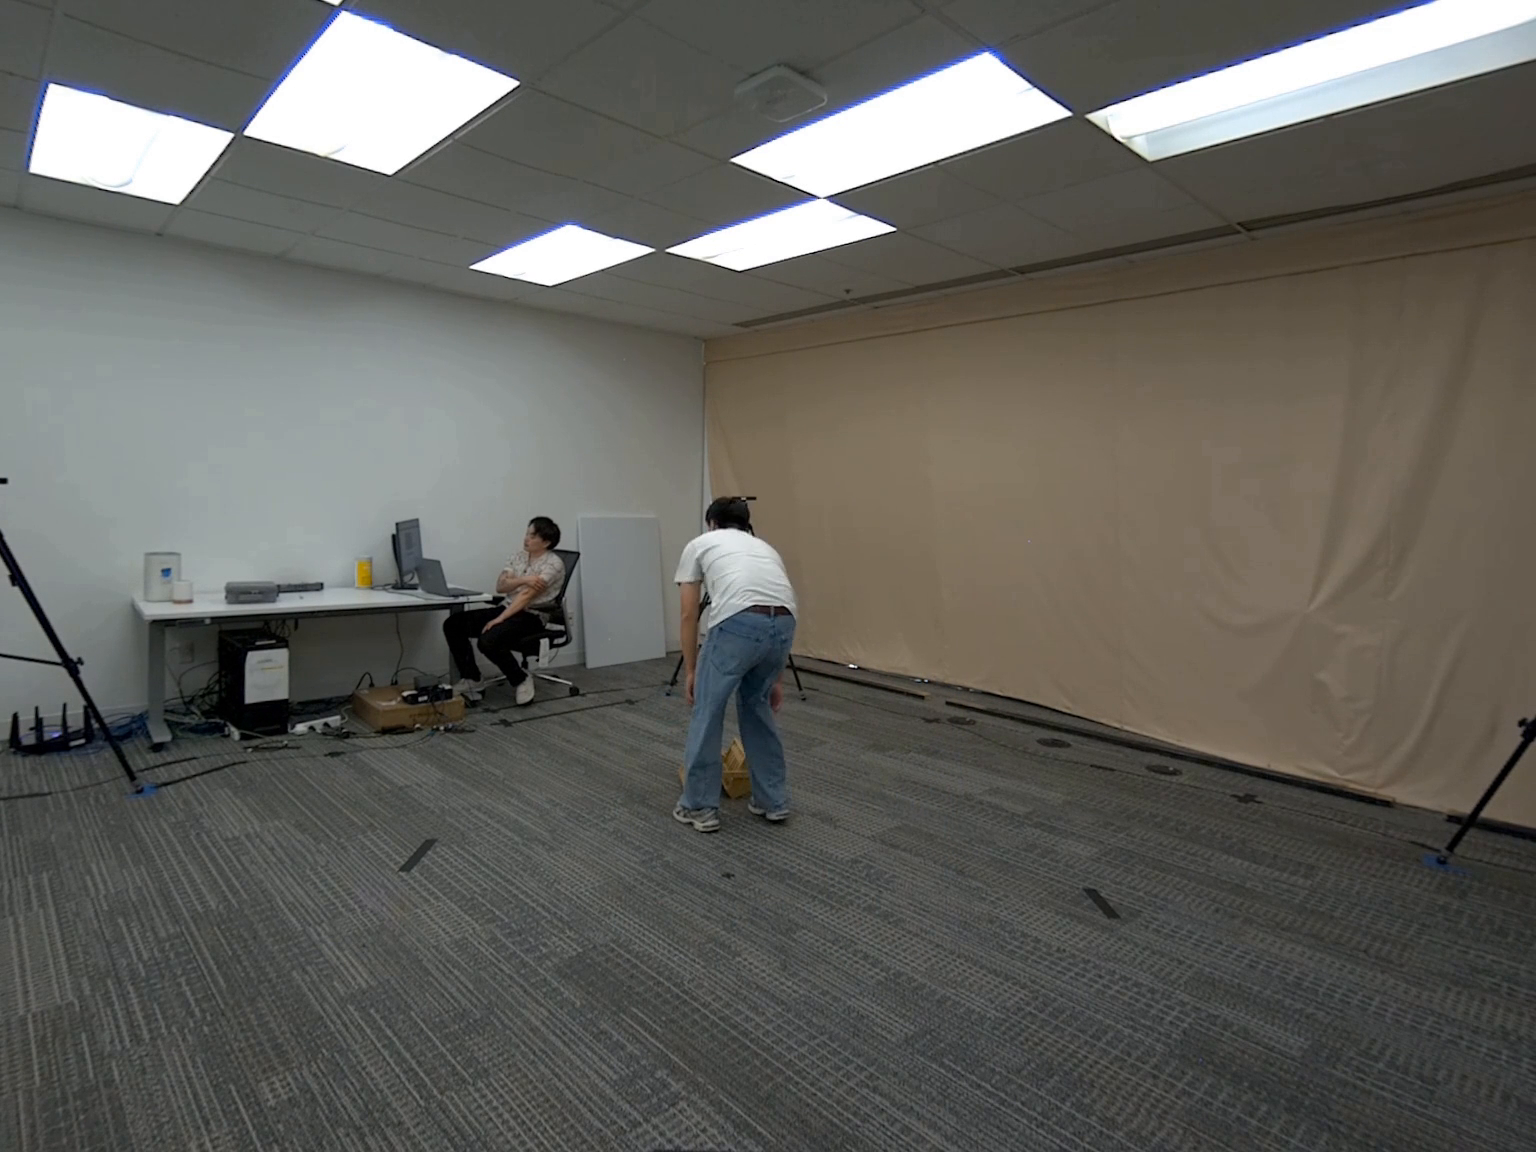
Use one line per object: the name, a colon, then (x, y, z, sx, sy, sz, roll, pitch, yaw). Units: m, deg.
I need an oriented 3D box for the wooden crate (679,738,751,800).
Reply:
wooden crate: (-0.245, 0.934, 4.049, 0.270, 0.302, 0.328, 29, -1, -12)
